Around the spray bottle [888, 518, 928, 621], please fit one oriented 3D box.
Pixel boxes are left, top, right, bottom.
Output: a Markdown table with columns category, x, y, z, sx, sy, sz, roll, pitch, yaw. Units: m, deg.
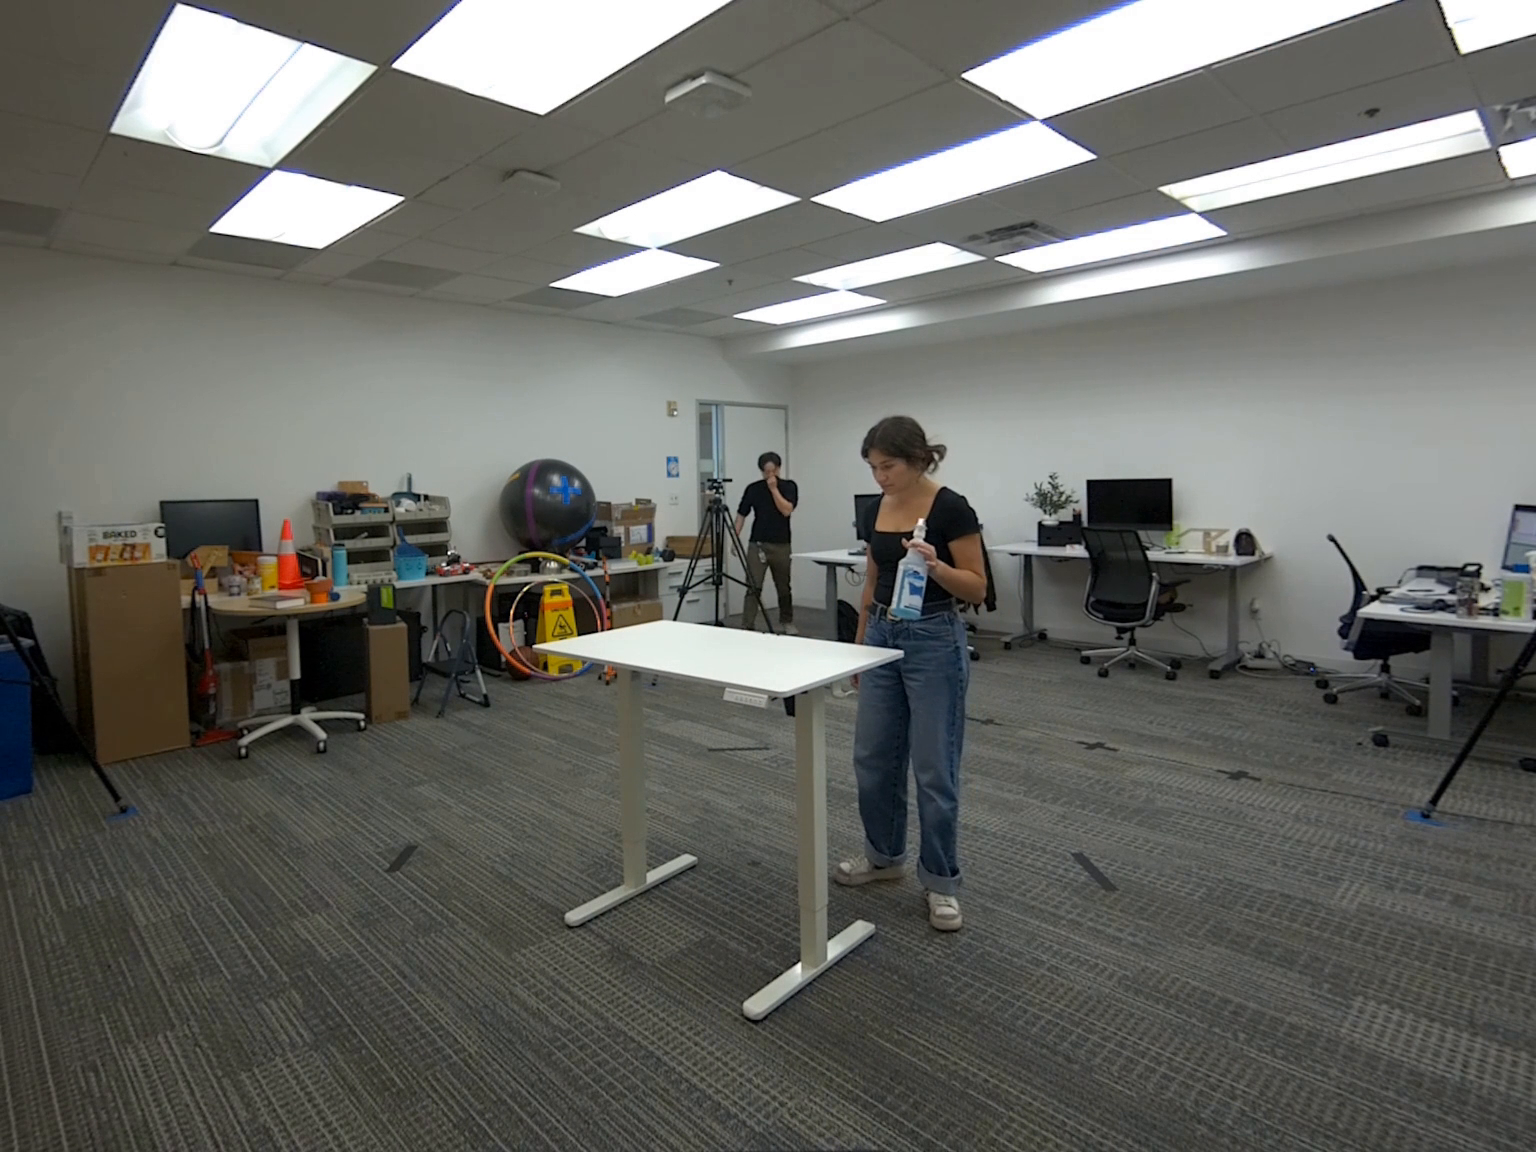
| category | x | y | z | sx | sy | sz | roll | pitch | yaw |
| --- | --- | --- | --- | --- | --- | --- | --- | --- | --- |
| spray bottle | 0.425 | -0.022 | 2.497 | 0.089 | 0.300 | 0.087 | 2 | -15 | 39 |
